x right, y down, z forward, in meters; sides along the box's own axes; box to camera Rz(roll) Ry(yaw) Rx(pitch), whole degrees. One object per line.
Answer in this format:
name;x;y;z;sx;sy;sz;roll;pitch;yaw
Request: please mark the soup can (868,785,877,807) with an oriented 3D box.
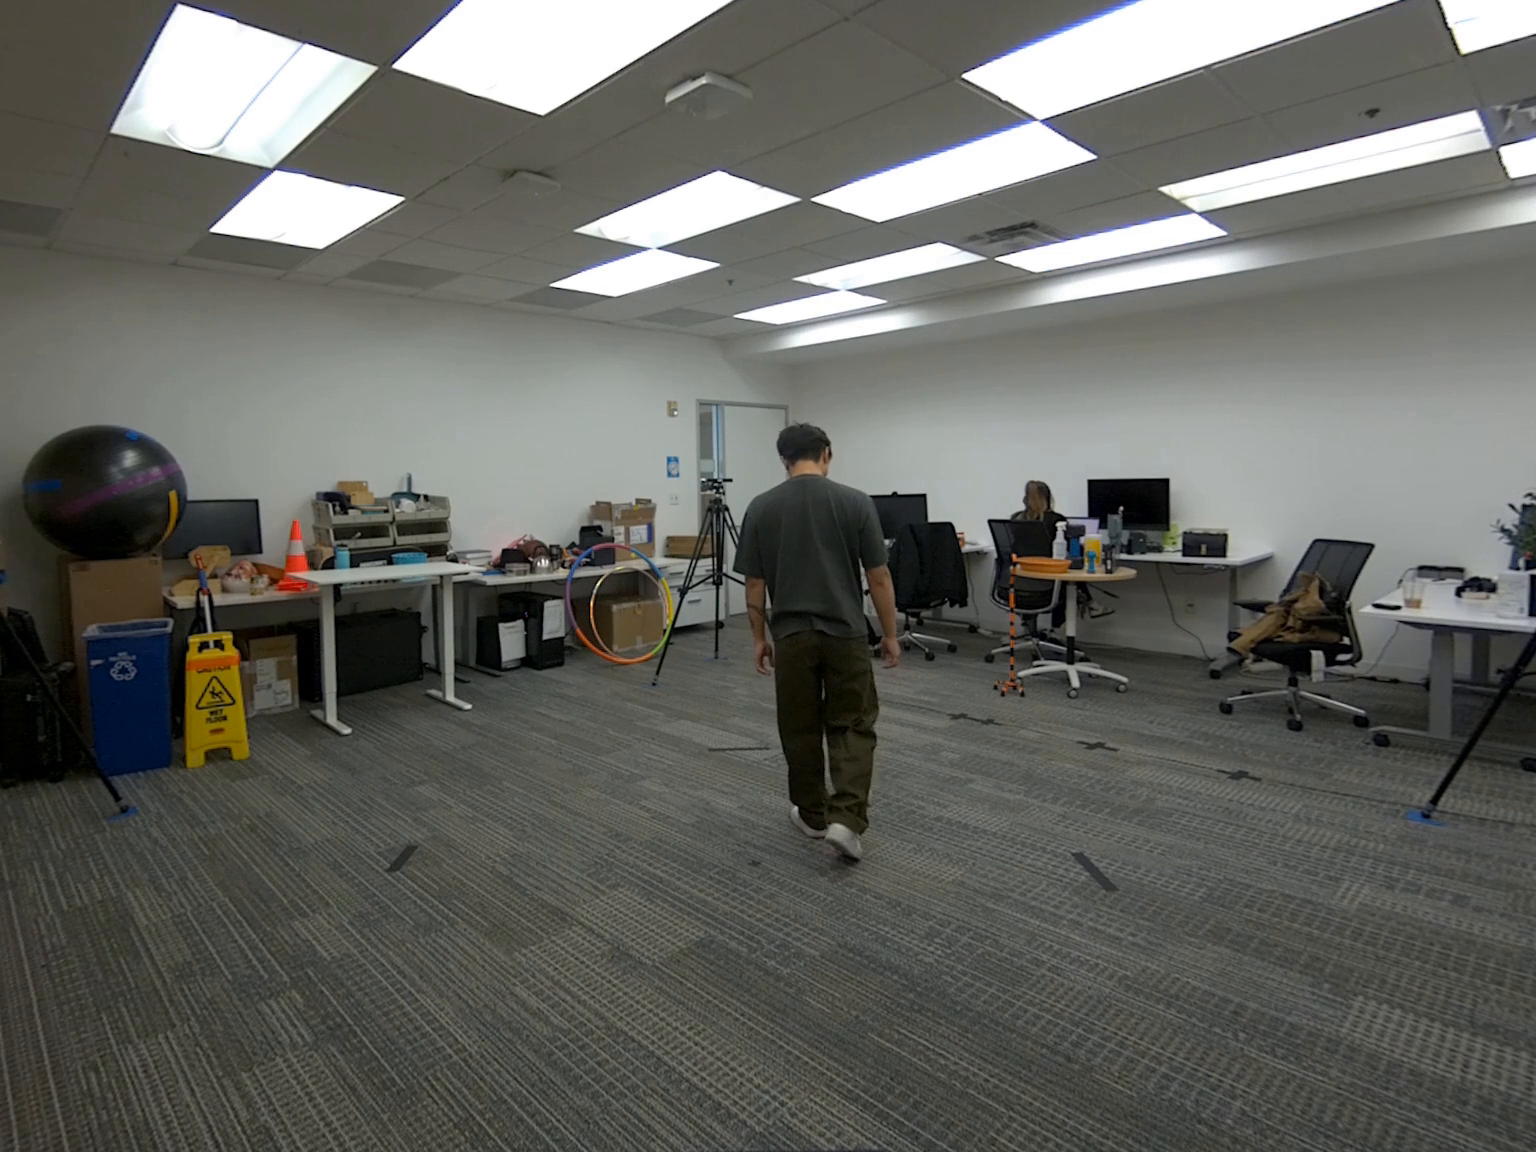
soup can;0.392;0.937;3.652;0.123;0.067;0.066;-6;3;14
